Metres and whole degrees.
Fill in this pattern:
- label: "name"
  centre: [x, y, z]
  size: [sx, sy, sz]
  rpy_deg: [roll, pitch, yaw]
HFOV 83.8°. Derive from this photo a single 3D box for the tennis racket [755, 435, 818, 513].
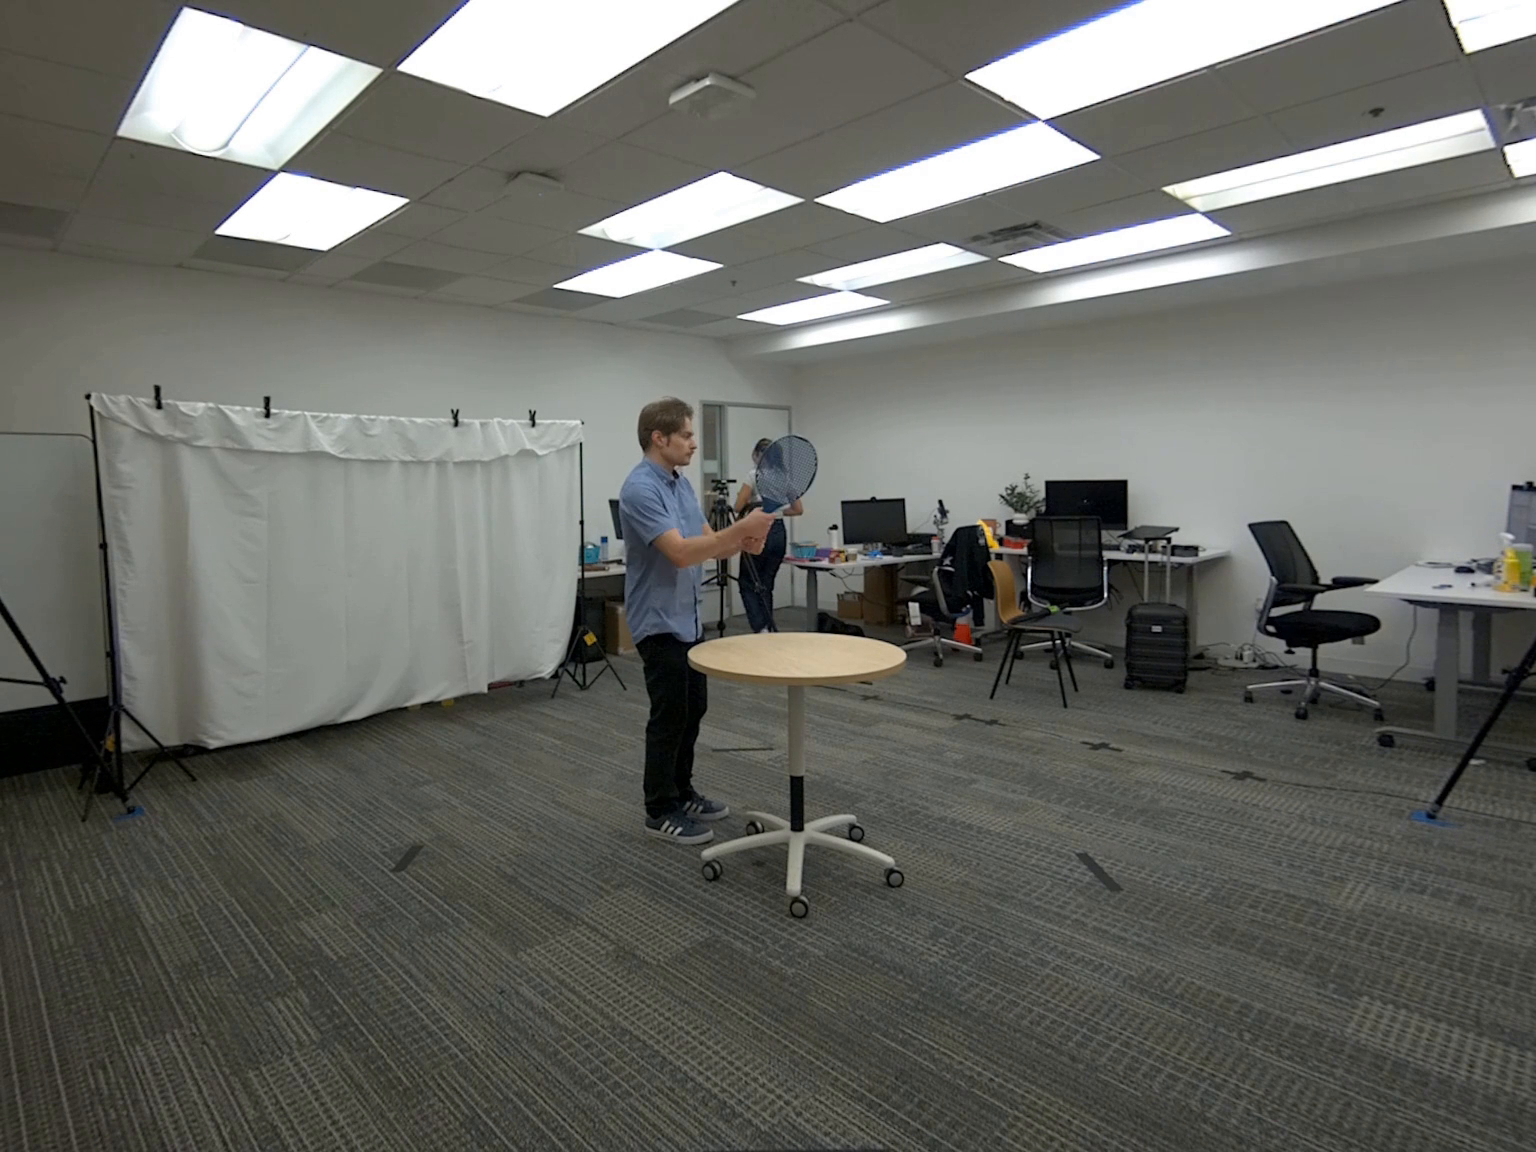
- label: "tennis racket"
  centre: [0.028, -0.302, 3.089]
  size: [0.212, 0.431, 0.032]
  rpy_deg: [22, 11, -7]
